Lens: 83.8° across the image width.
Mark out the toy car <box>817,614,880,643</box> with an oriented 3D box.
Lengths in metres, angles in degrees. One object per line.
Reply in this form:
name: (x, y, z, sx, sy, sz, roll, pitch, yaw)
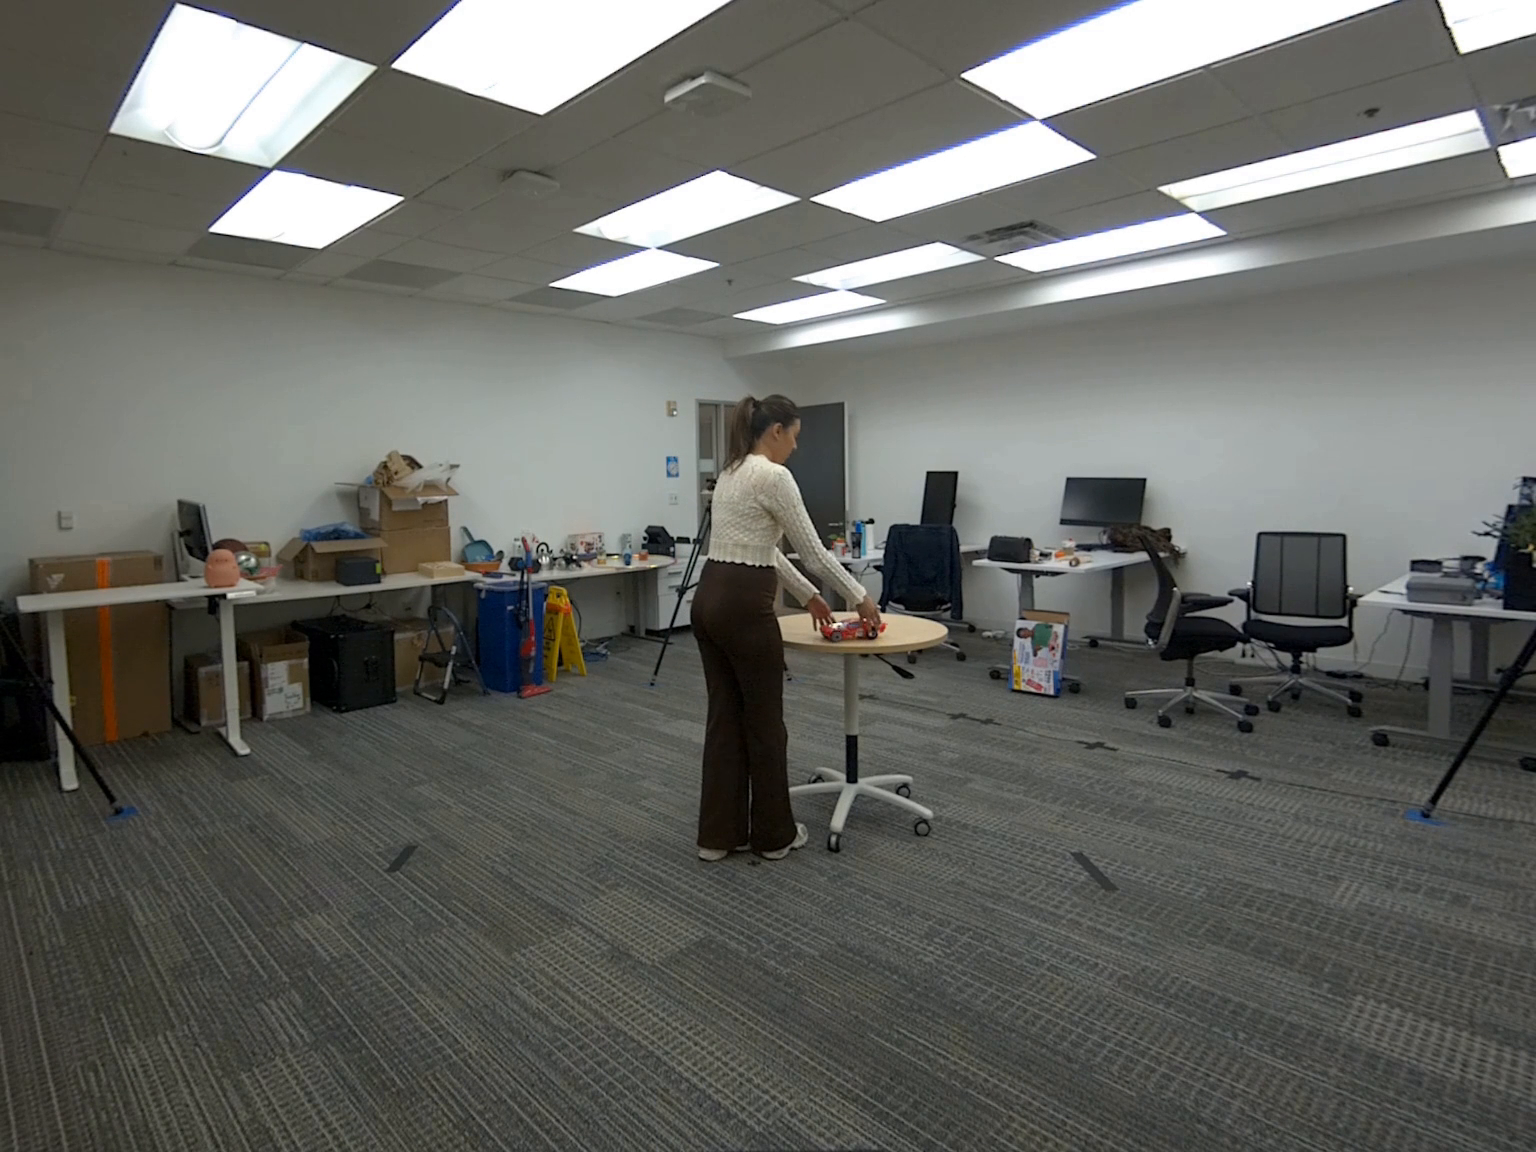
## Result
toy car: (0.329, 0.205, 3.257, 0.252, 0.082, 0.132, -15, 9, -12)
